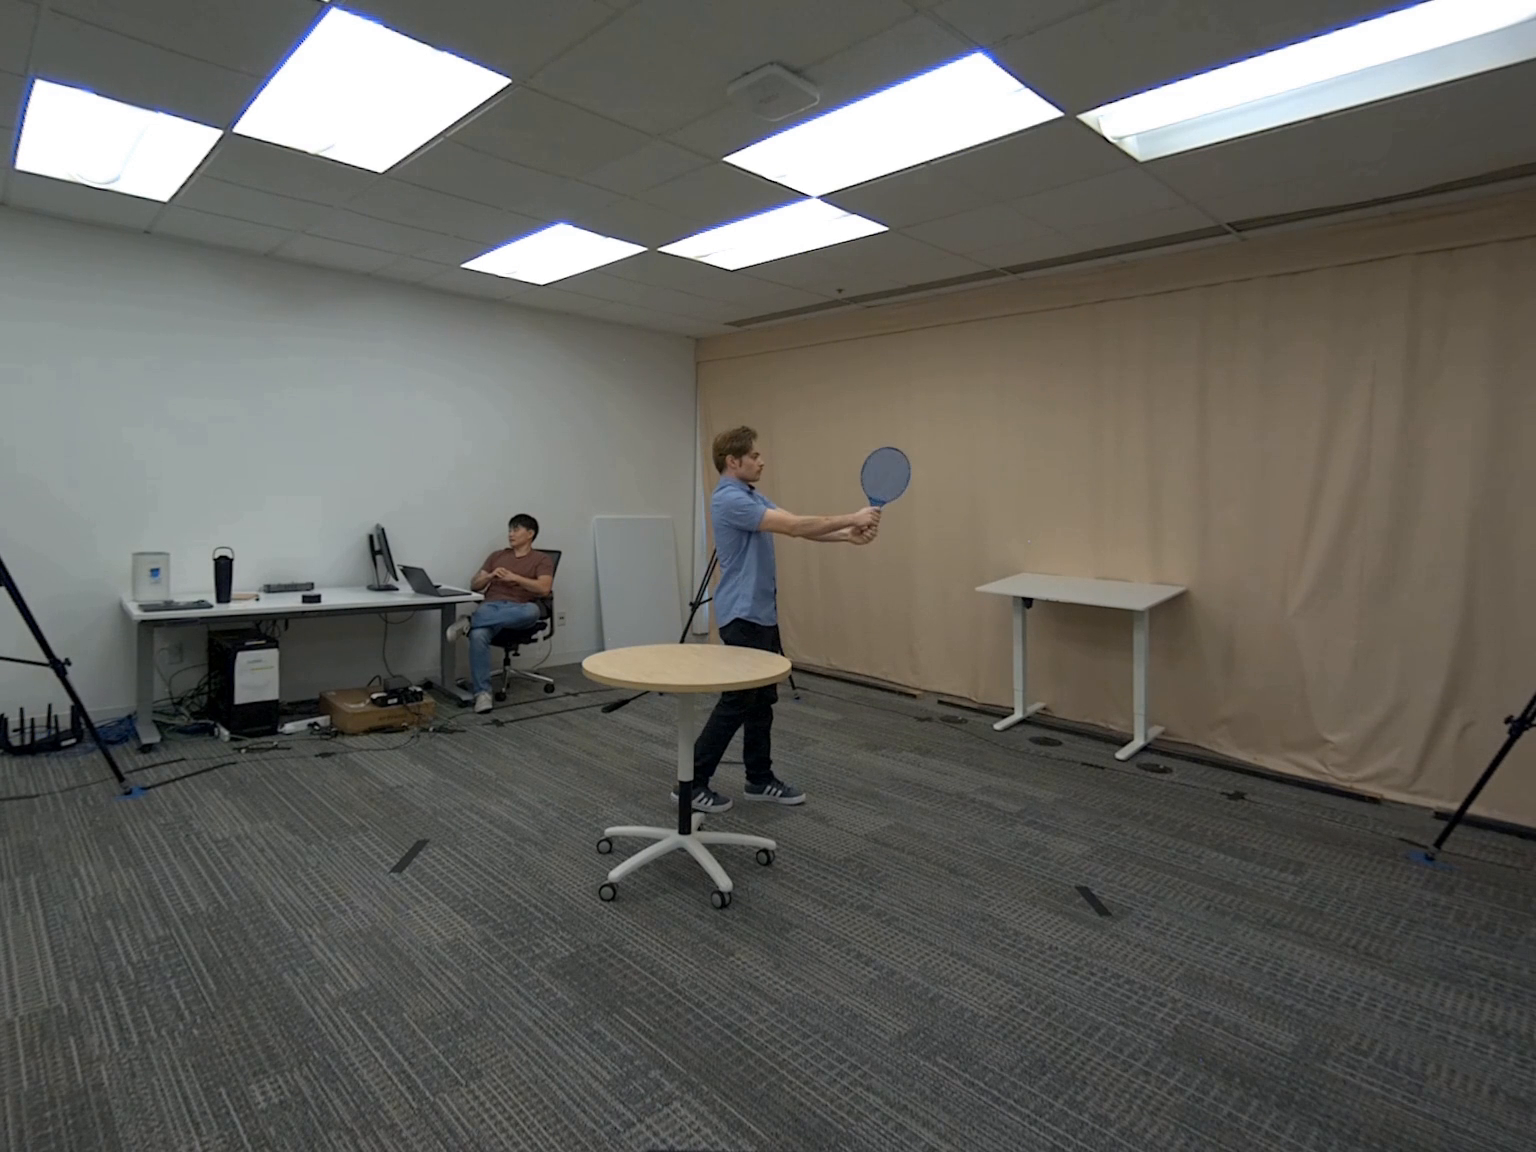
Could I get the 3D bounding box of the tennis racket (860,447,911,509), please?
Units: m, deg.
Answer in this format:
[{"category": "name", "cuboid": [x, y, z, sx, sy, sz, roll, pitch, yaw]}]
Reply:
[{"category": "tennis racket", "cuboid": [0.491, -0.365, 3.695, 0.215, 0.435, 0.031, 17, -9, 9]}]
